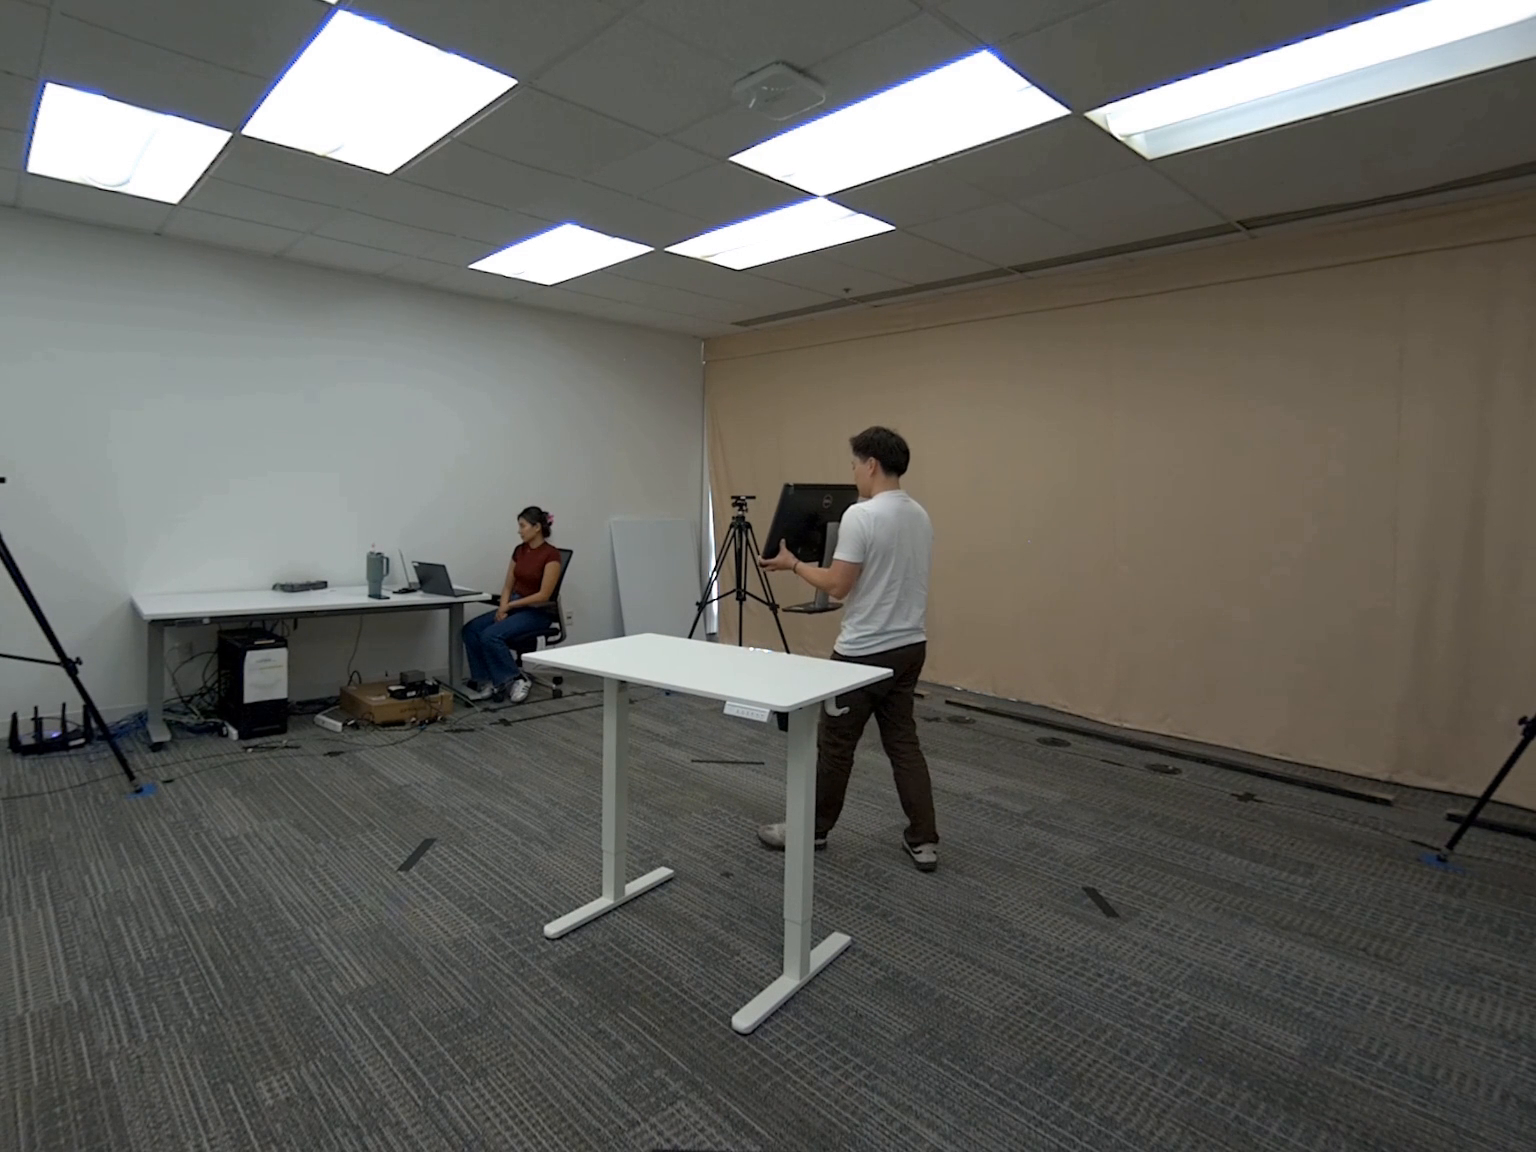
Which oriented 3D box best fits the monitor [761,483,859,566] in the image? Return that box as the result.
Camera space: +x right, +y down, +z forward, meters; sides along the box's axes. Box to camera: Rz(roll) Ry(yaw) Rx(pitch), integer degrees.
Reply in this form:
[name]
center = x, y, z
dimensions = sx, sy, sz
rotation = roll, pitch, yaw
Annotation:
[monitor]
center = 0.196, -0.122, 3.443
dimensions = 0.192, 0.520, 0.527
rotation = 12, 11, 38
